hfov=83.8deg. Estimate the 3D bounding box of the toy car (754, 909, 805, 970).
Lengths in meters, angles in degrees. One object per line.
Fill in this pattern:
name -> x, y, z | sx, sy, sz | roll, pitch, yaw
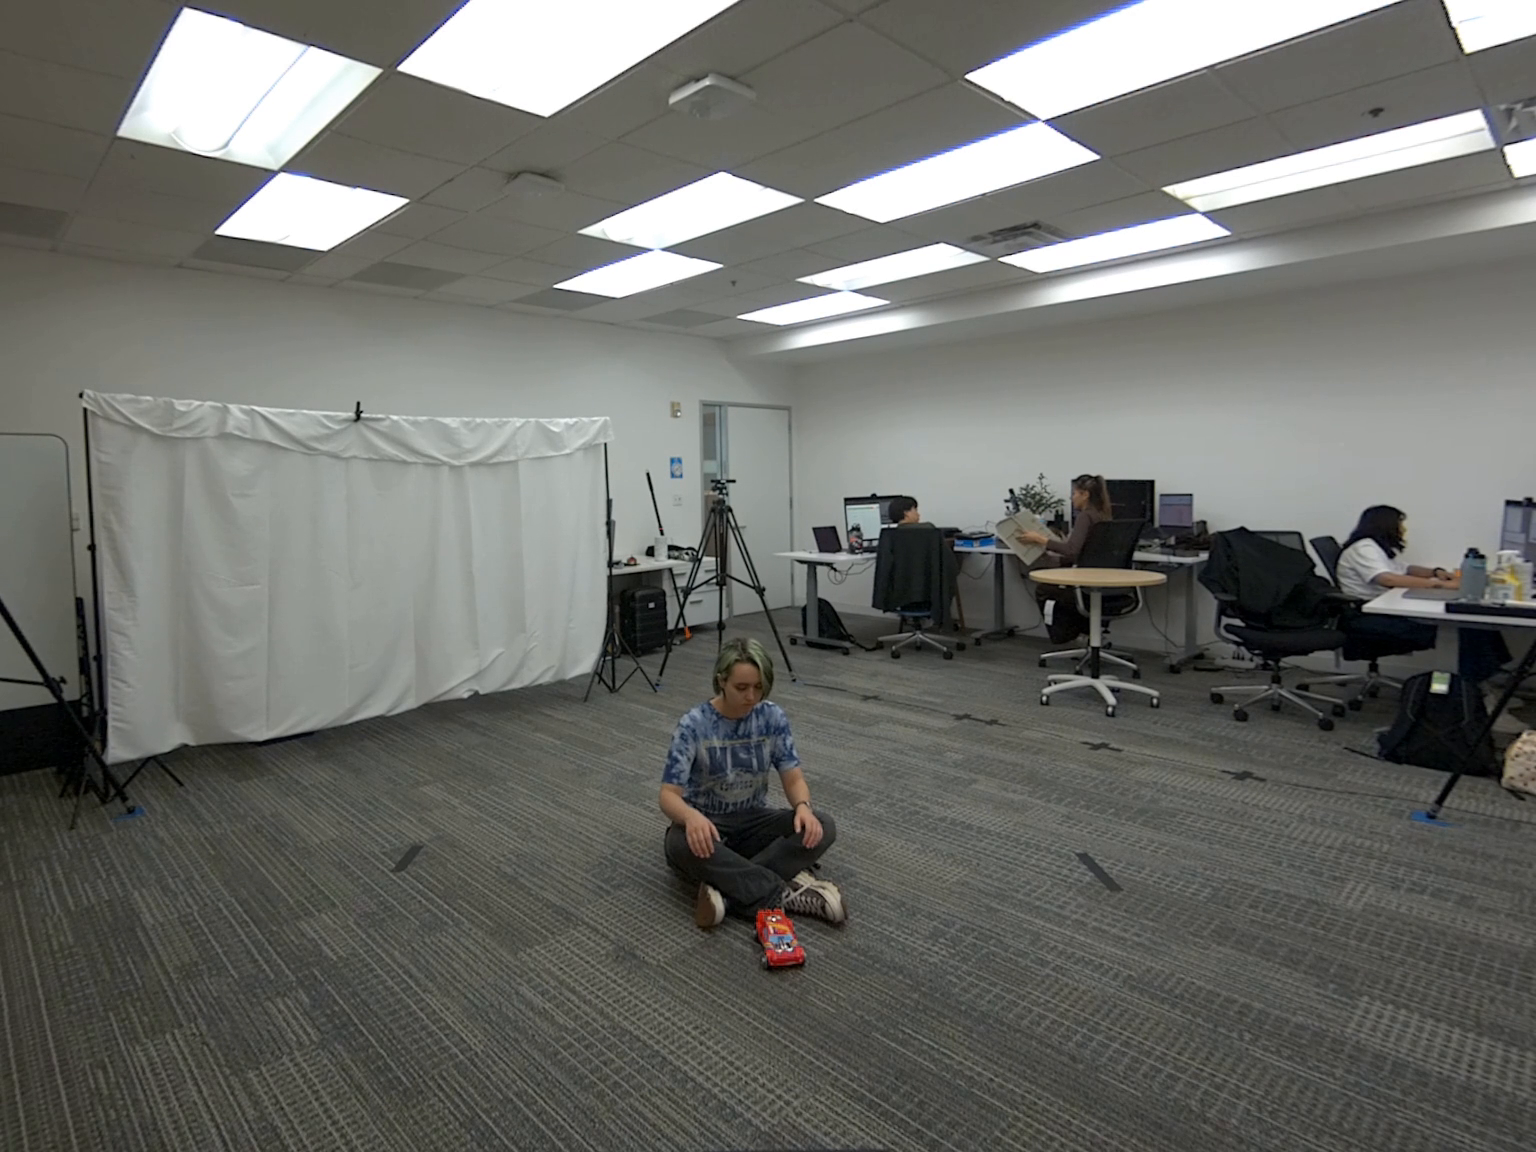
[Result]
toy car -> 0.027, 1.084, 2.541 | 0.129, 0.082, 0.260 | -4, 18, -9
